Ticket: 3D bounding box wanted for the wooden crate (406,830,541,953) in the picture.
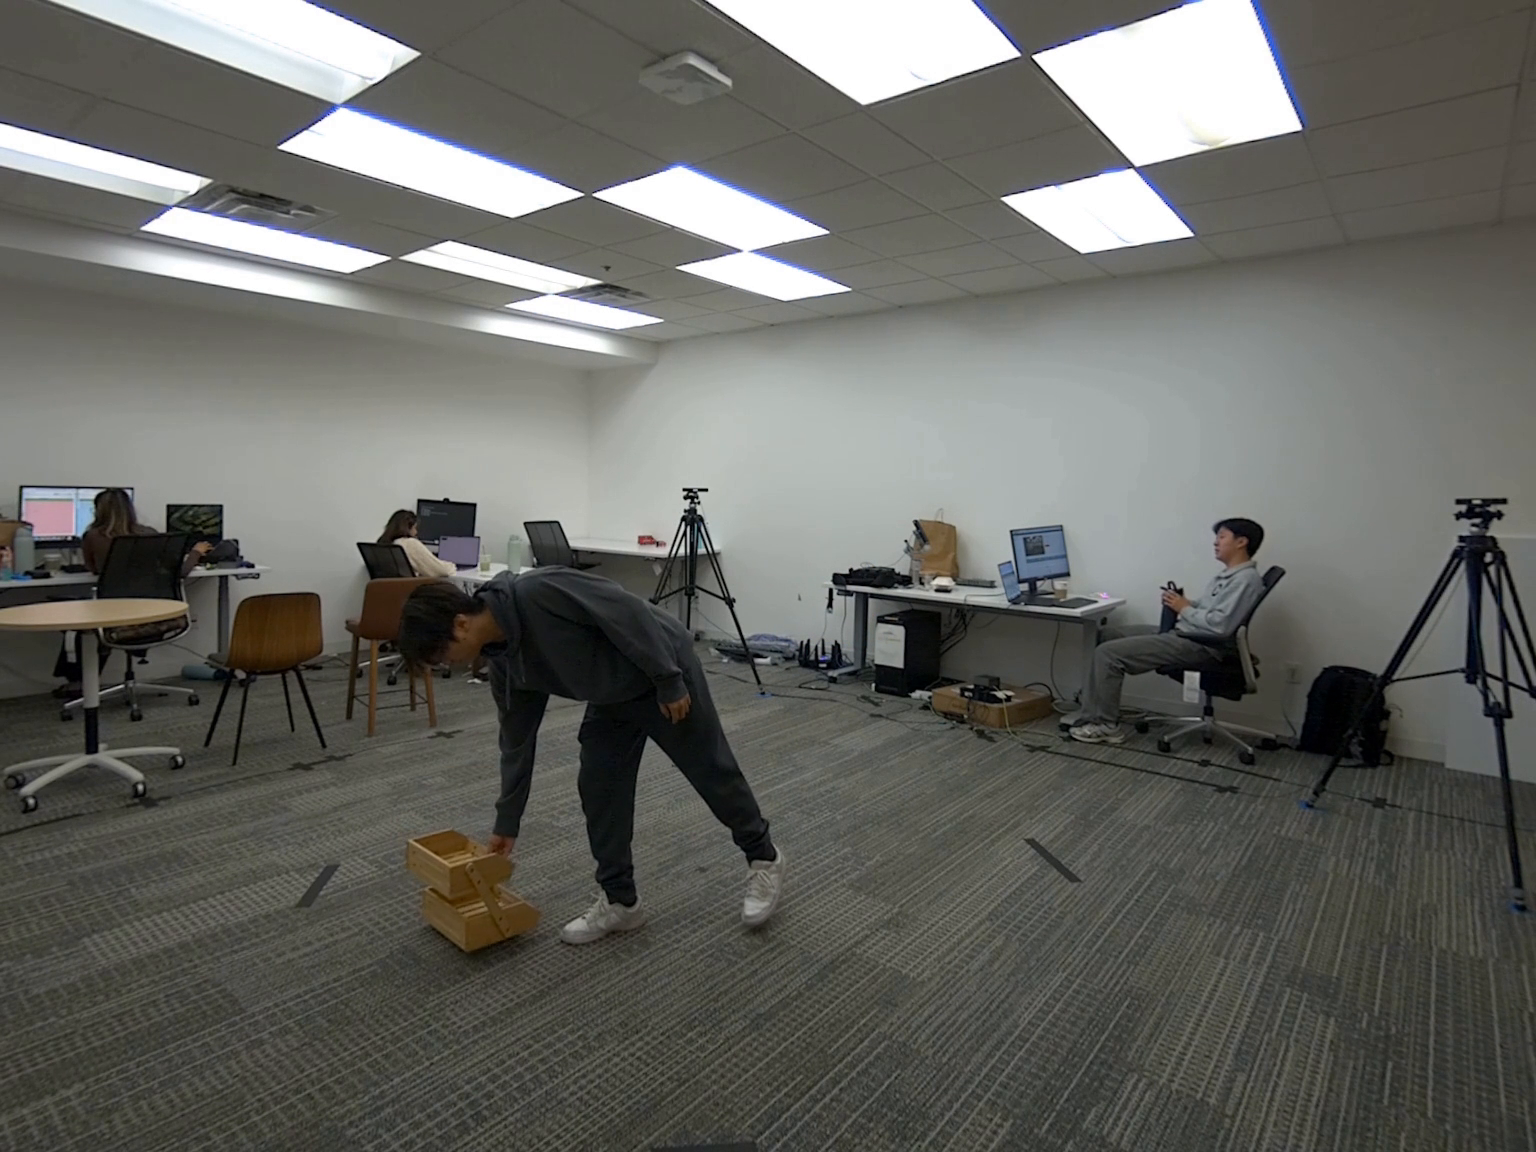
[{"bbox_3d":[-0.919,0.942,2.634,0.292,0.273,0.335,-2,2,-45],"label":"wooden crate"}]
